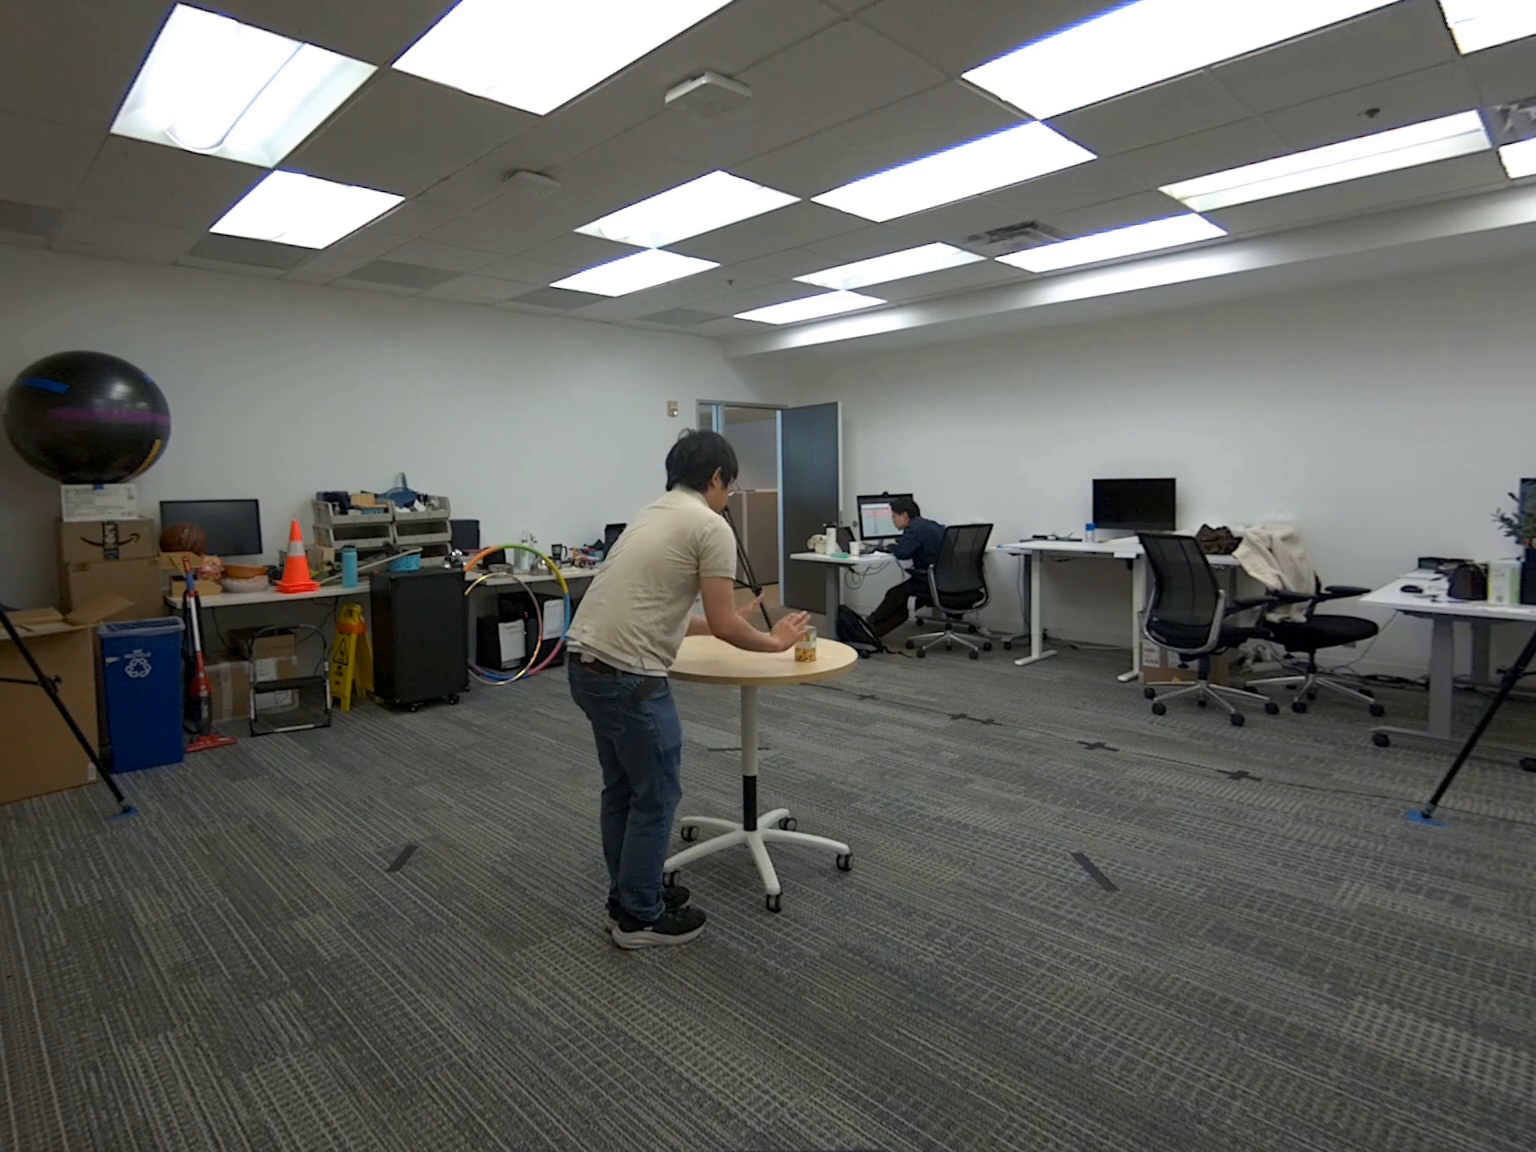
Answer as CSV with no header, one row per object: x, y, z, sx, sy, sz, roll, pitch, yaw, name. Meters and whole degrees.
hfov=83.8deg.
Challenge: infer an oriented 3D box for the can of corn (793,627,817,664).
0.133,0.233,2.886,0.074,0.110,0.075,1,7,-2,can of corn
